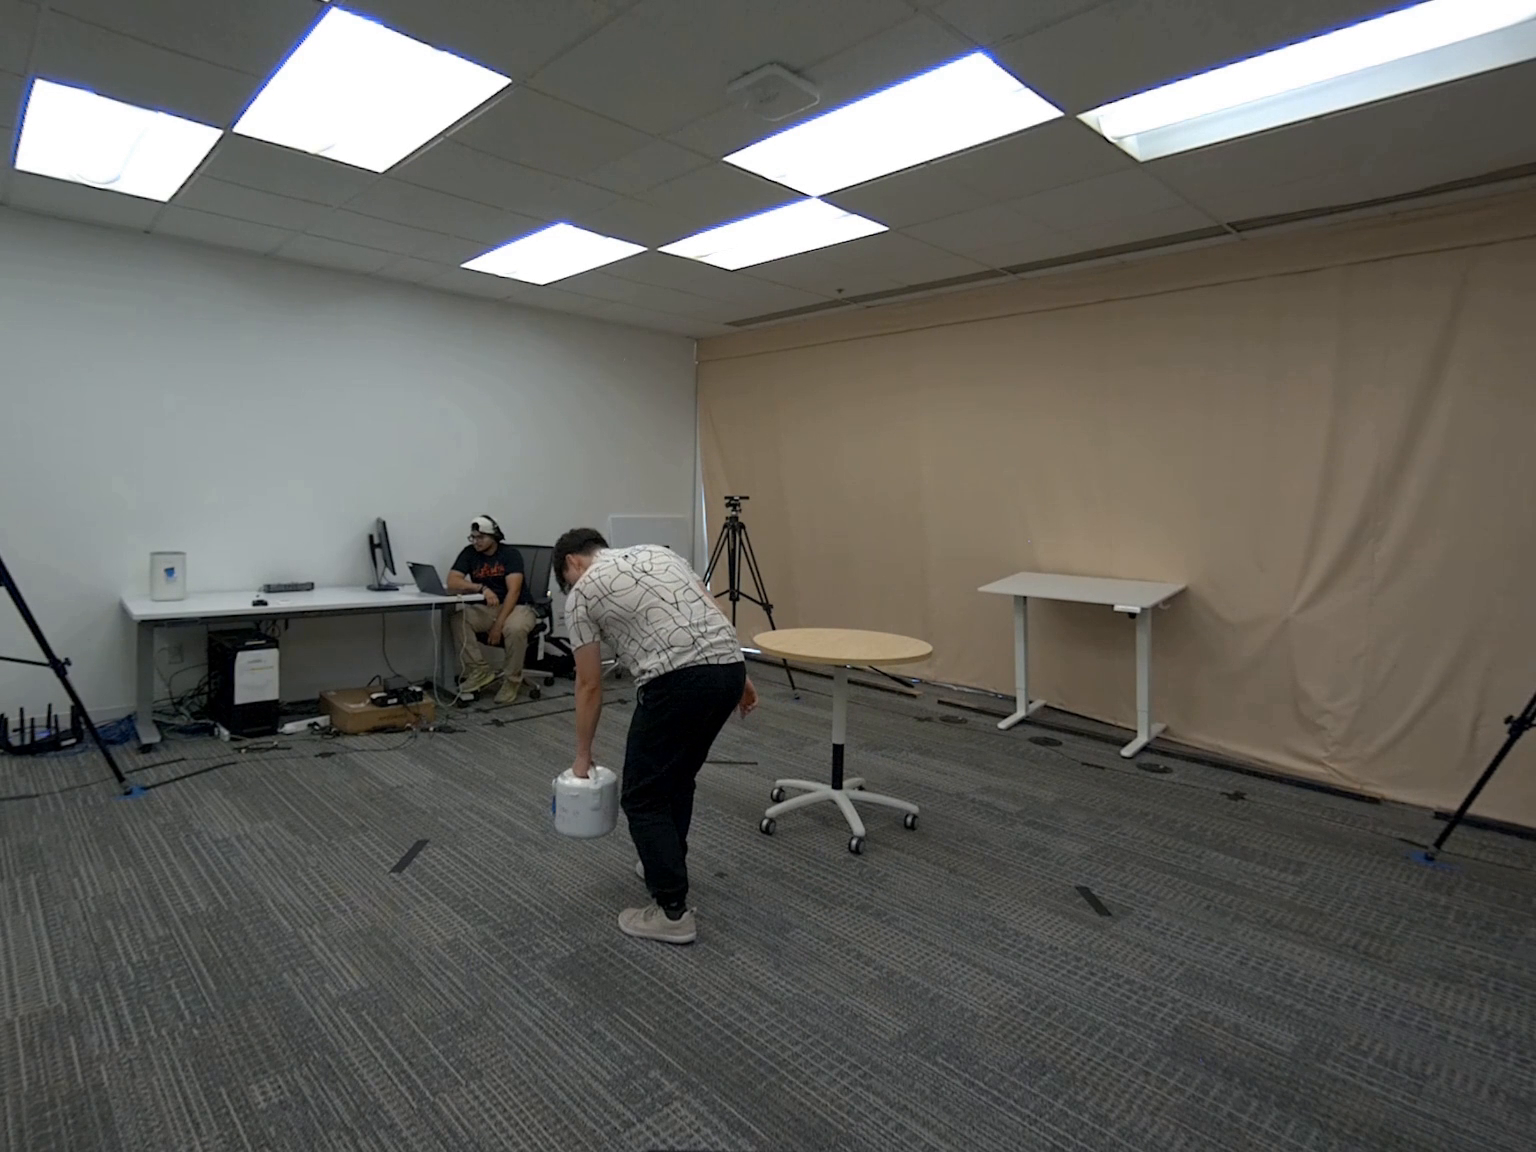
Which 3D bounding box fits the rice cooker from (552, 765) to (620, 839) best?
[{"bbox_3d":[-0.620,0.766,2.900,0.213,0.232,0.225,-1,4,-25],"label":"rice cooker"}]
